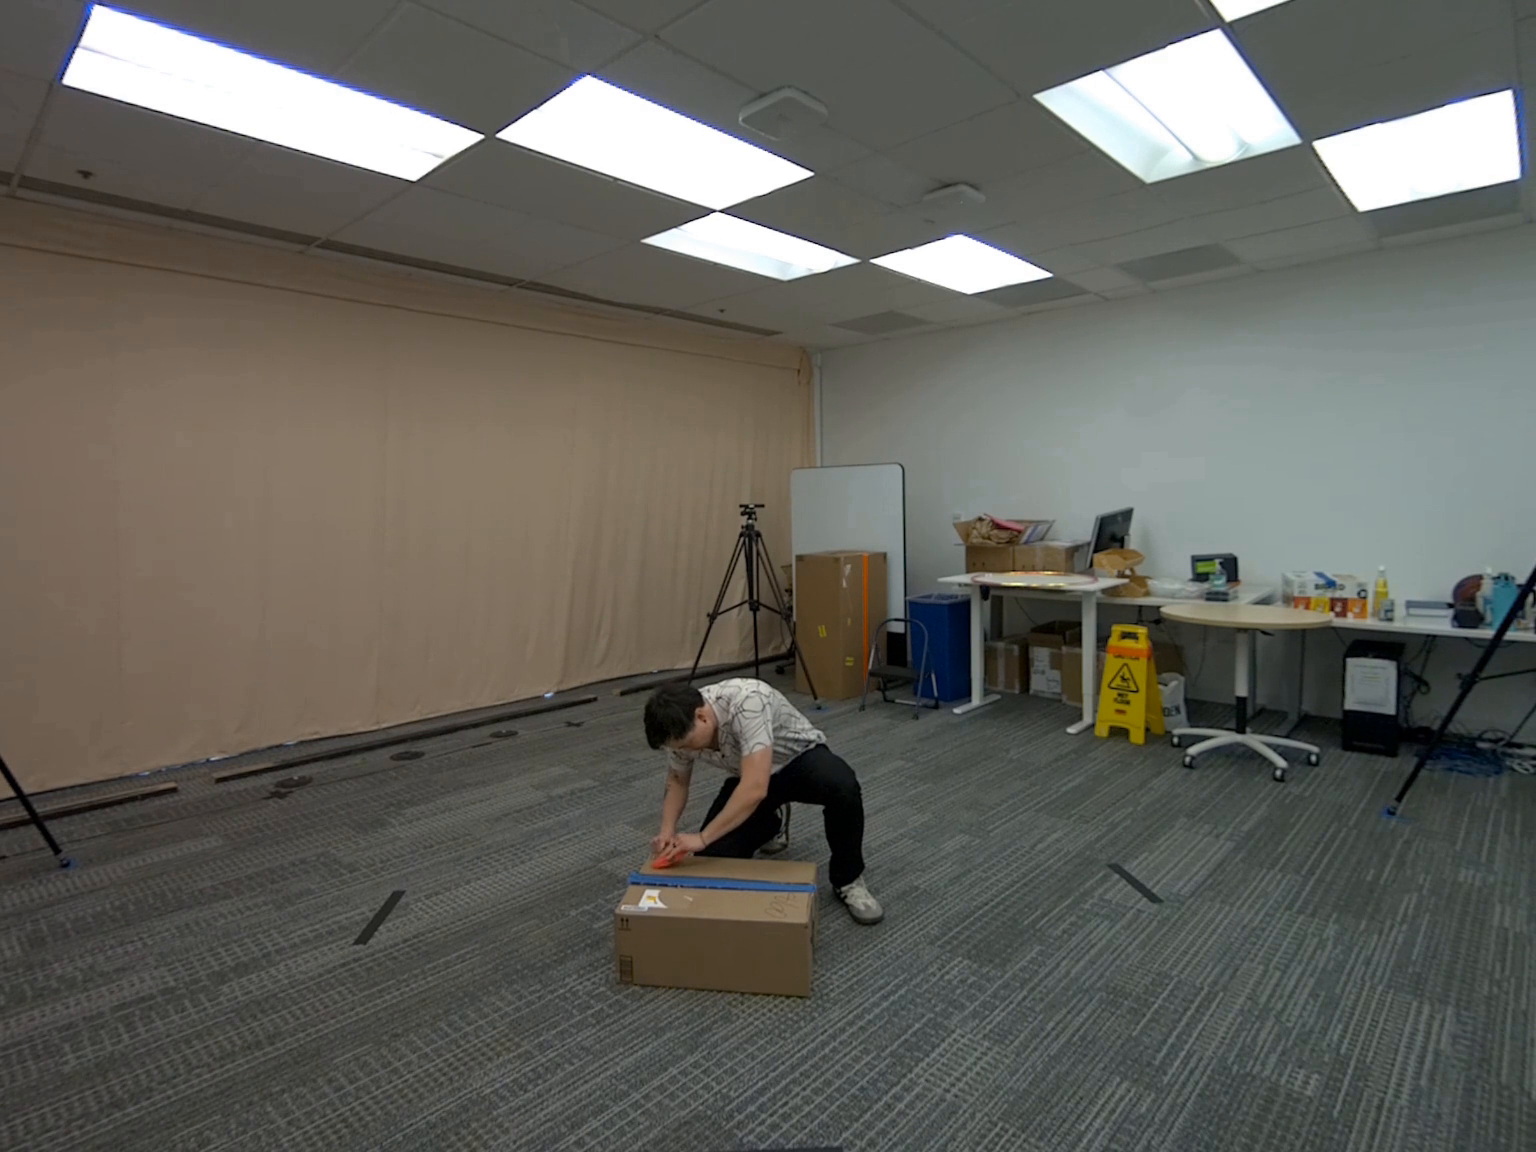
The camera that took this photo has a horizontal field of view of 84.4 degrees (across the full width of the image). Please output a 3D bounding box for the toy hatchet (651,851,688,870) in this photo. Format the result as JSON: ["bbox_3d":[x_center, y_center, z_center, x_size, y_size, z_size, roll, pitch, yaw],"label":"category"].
[{"bbox_3d":[-0.353,0.927,2.844,0.129,0.029,0.275,-31,7,-26],"label":"toy hatchet"}]
